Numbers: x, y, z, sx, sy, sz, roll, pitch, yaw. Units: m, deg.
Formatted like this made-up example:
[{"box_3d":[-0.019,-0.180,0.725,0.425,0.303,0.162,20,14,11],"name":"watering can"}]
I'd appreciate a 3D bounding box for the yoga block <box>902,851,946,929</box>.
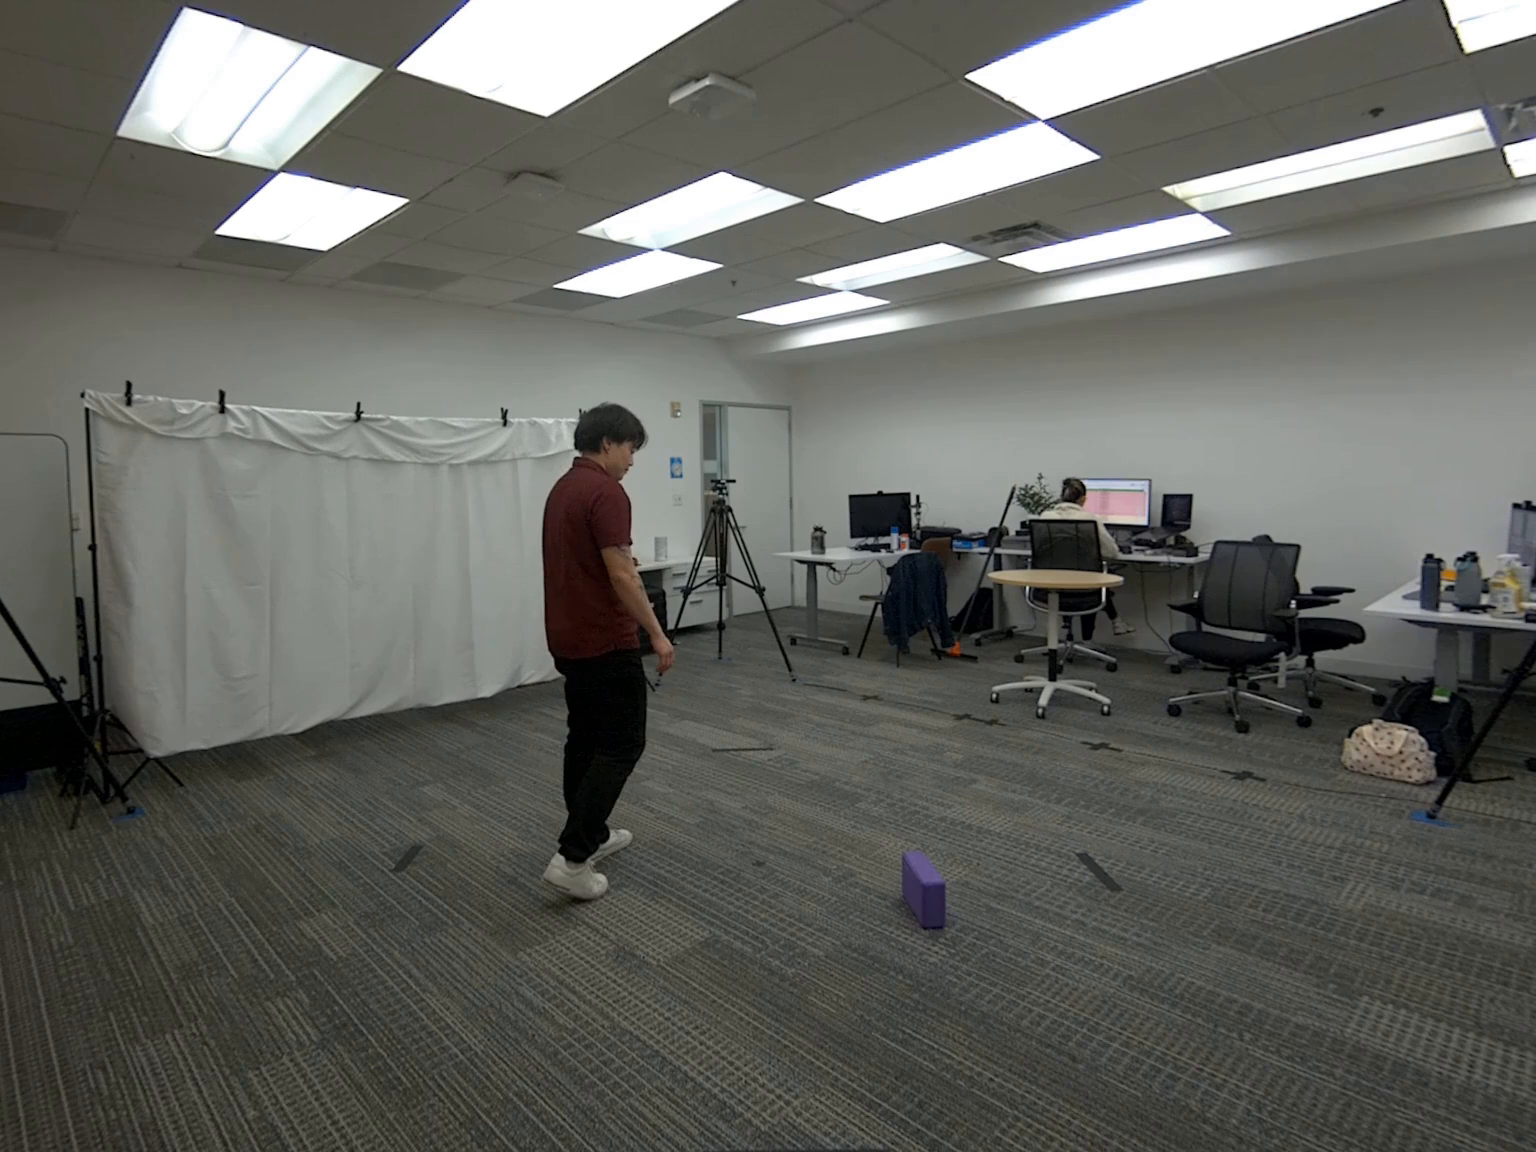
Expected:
[{"box_3d":[0.501,0.998,2.733,0.076,0.148,0.231,0,5,-7],"name":"yoga block"}]
